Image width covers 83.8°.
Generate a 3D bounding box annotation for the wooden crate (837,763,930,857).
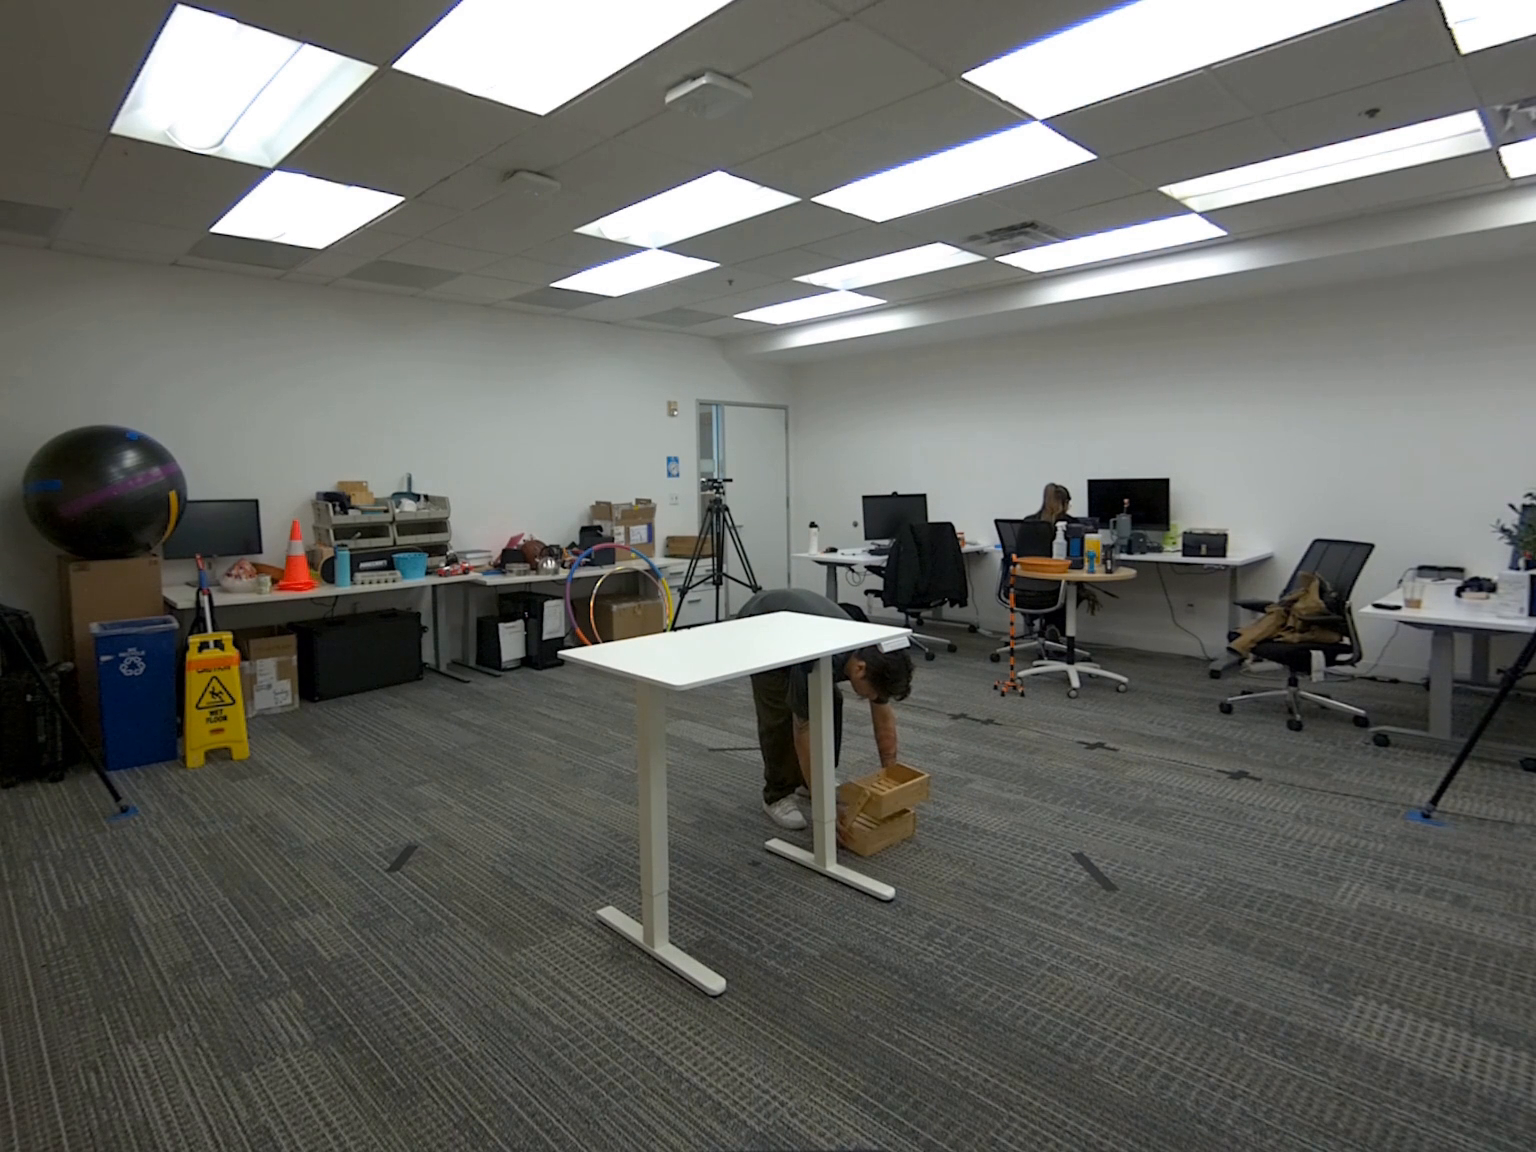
[{"bbox_3d":[0.400,0.876,3.298,0.316,0.271,0.312,-6,13,-42],"label":"wooden crate"}]
